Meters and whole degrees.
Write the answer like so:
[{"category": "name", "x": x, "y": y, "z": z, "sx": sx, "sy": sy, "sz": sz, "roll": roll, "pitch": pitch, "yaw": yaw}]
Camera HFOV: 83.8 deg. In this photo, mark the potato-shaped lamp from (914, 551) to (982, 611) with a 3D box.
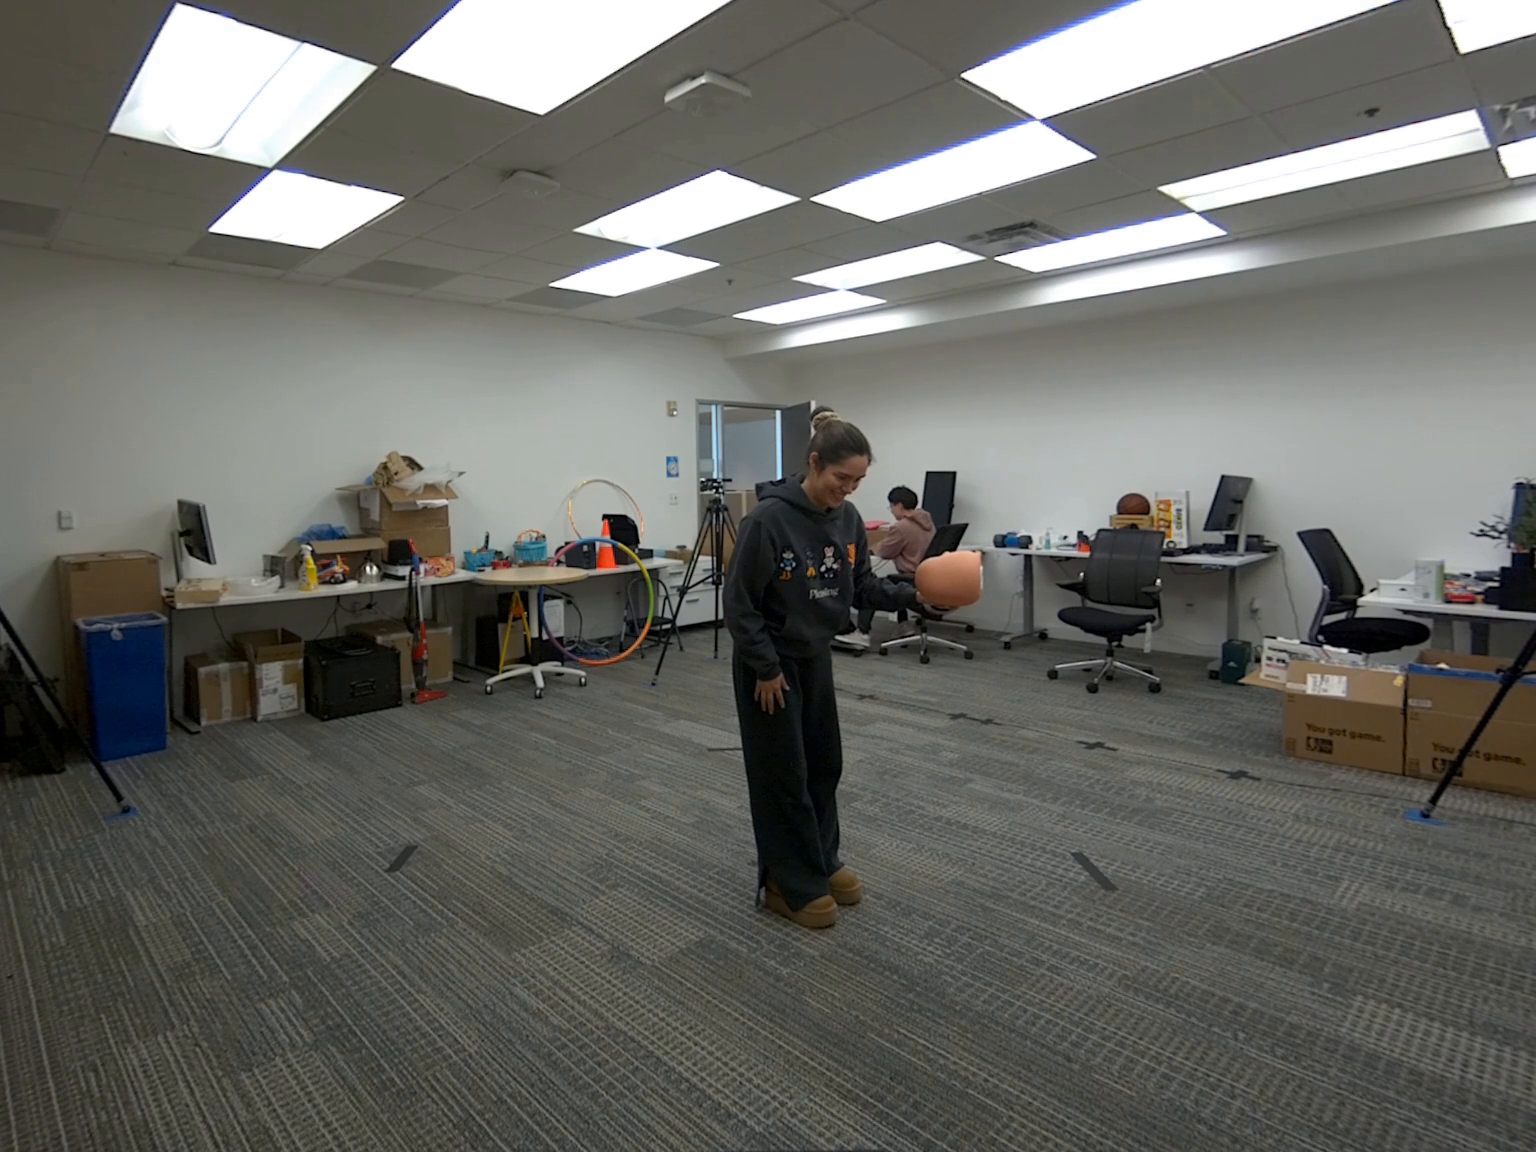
[{"category": "potato-shaped lamp", "x": 0.548, "y": 0.006, "z": 2.601, "sx": 0.201, "sy": 0.159, "sz": 0.174, "roll": 2, "pitch": 43, "yaw": 17}]
